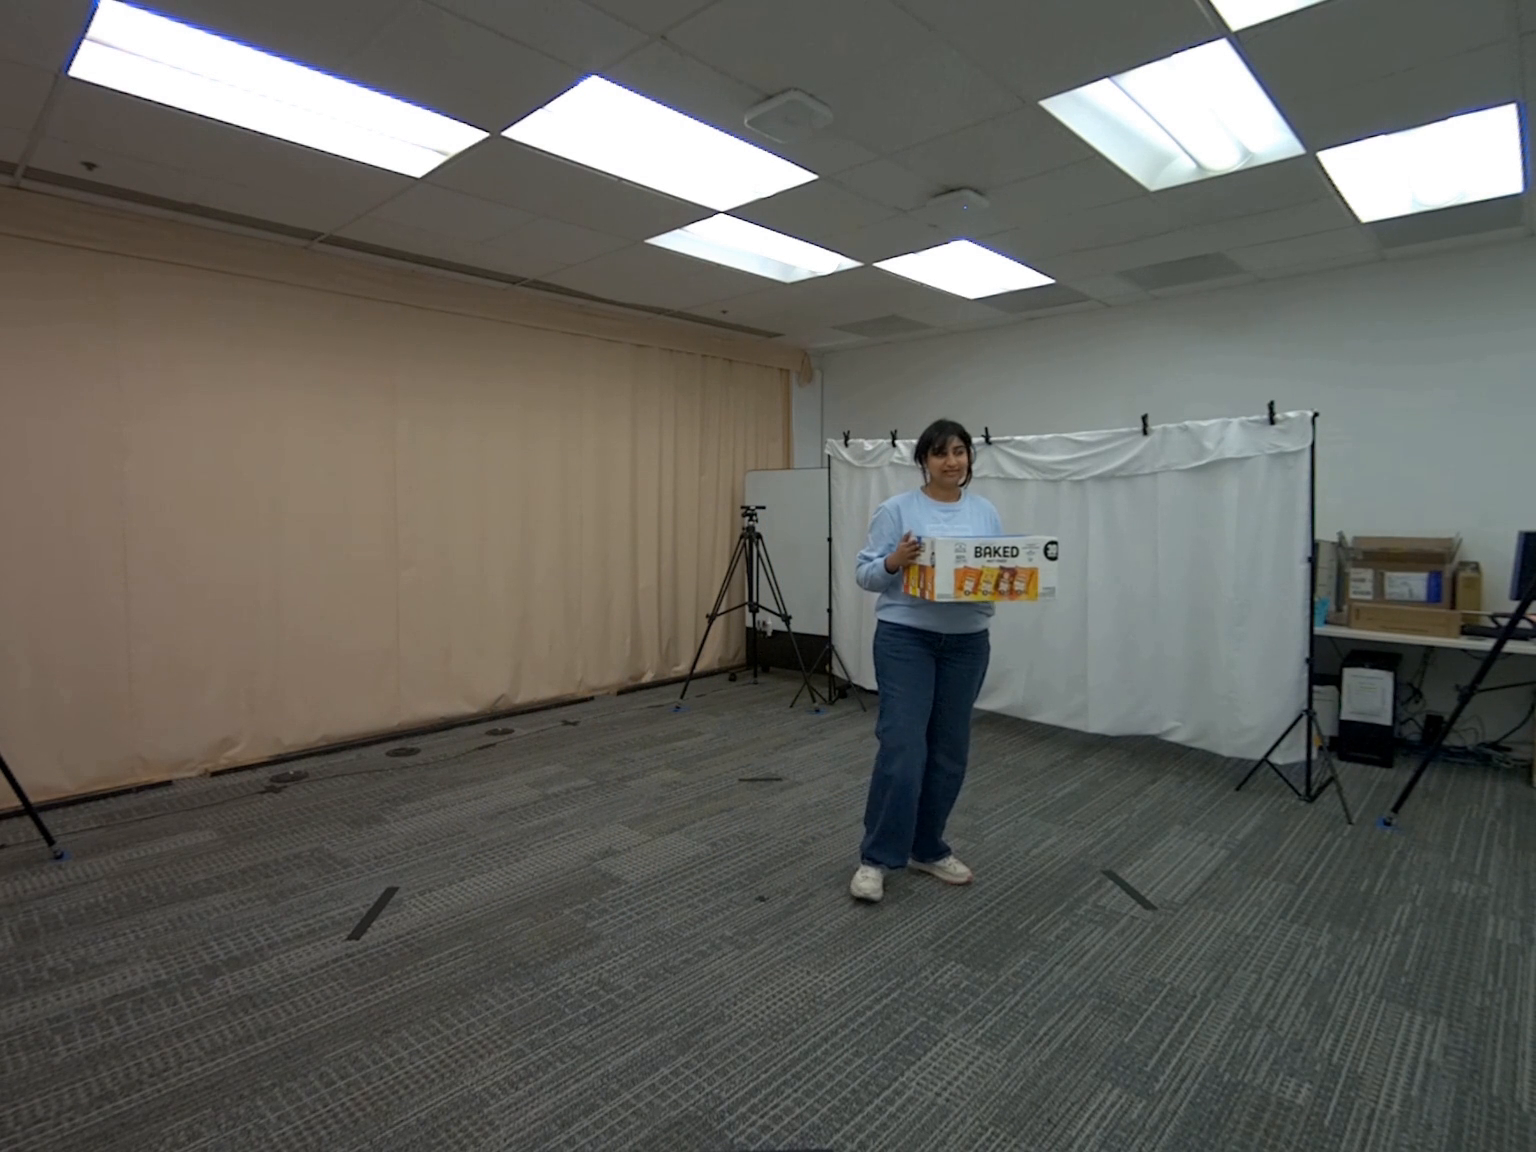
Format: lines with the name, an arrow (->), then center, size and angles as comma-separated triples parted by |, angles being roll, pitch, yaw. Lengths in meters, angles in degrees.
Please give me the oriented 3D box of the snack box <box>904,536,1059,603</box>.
snack box -> 0.698, -0.031, 2.828 | 0.402, 0.205, 0.343 | 0, 4, -7
